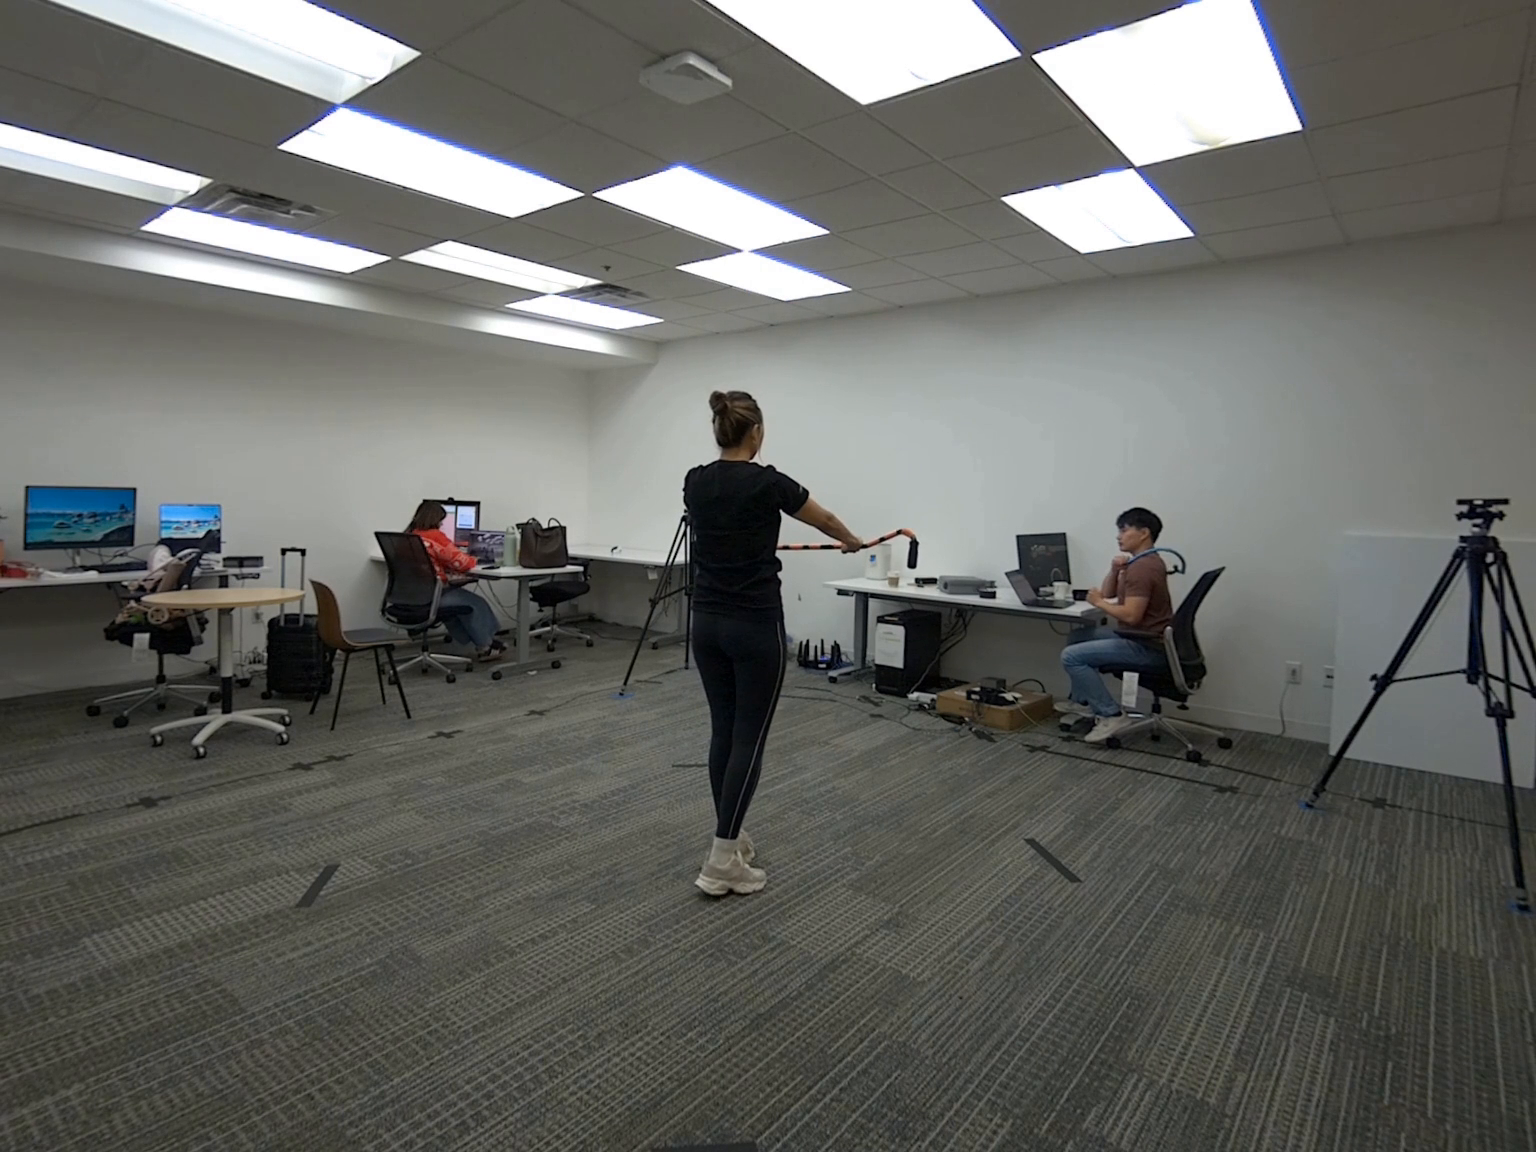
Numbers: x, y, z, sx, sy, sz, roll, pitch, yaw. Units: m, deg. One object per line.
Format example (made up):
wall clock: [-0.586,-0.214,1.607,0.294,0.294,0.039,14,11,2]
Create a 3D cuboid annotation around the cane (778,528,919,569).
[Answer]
cane: [0.157,-0.121,3.474,0.932,0.209,0.145,-1,-23,29]
